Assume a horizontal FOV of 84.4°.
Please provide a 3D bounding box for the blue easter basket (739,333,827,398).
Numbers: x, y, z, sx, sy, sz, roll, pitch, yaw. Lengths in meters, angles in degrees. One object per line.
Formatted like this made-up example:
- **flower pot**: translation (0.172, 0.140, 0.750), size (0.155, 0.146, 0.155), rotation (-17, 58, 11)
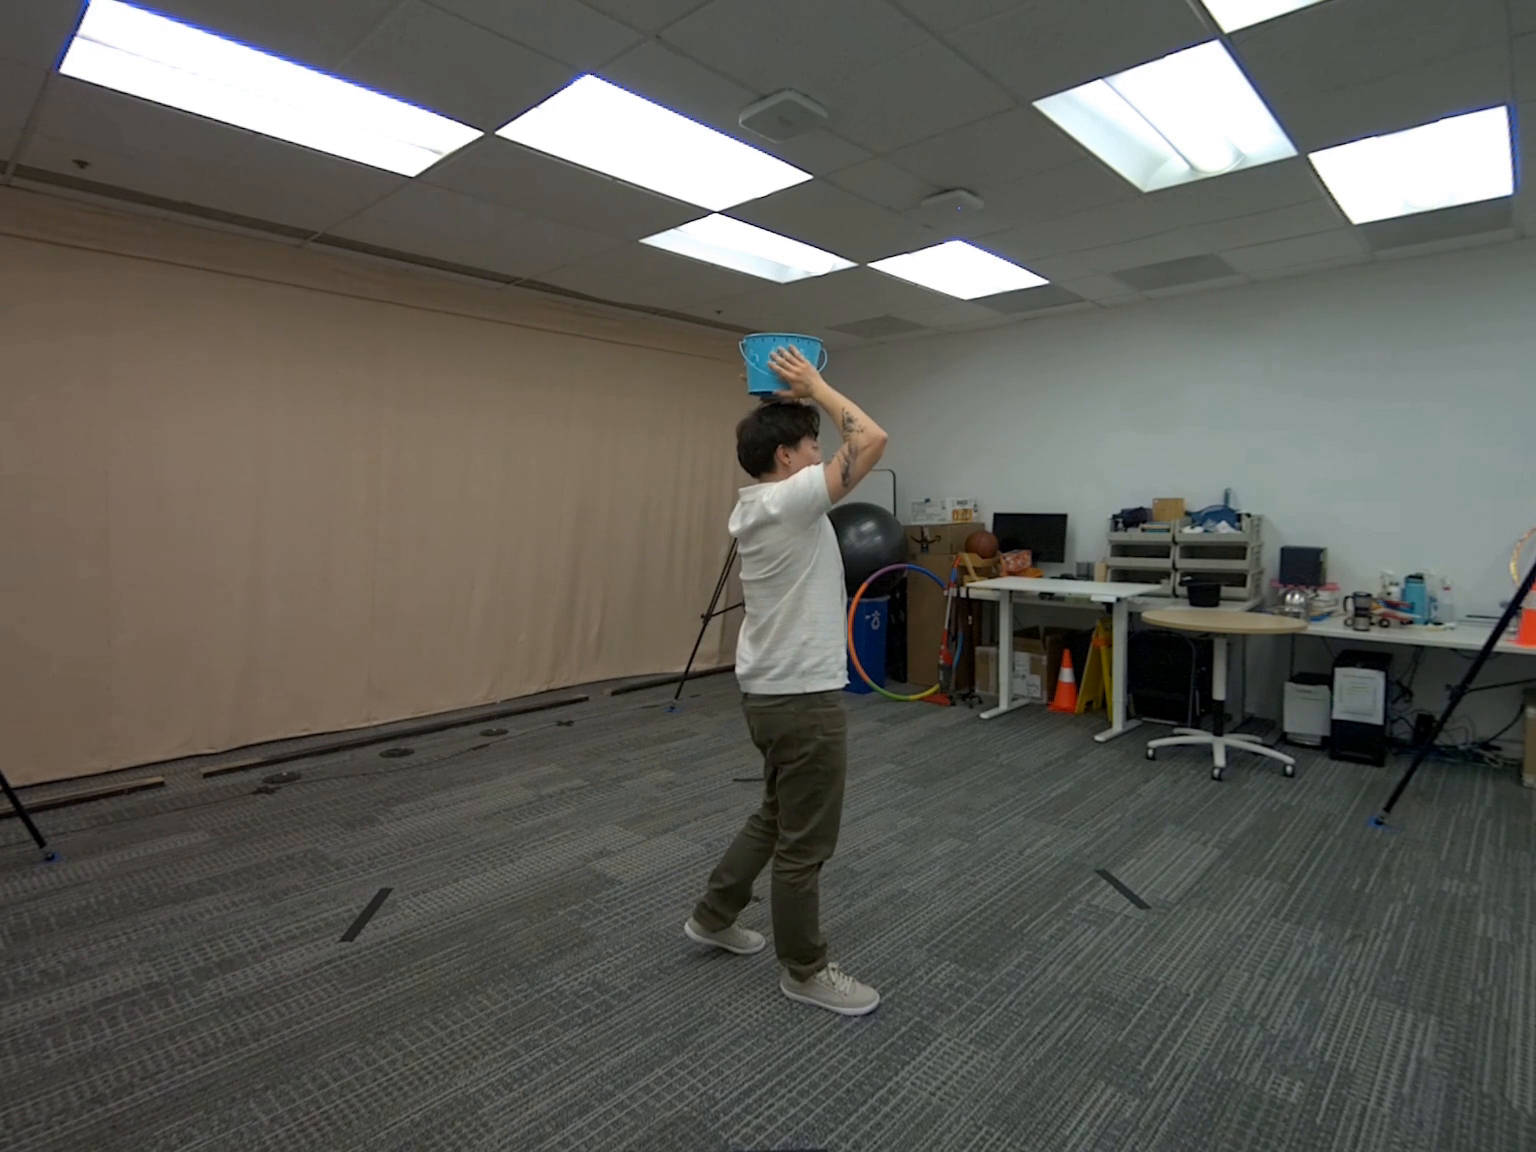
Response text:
- **blue easter basket**: translation (0.038, -0.592, 2.385), size (0.243, 0.155, 0.245), rotation (2, 5, -2)
